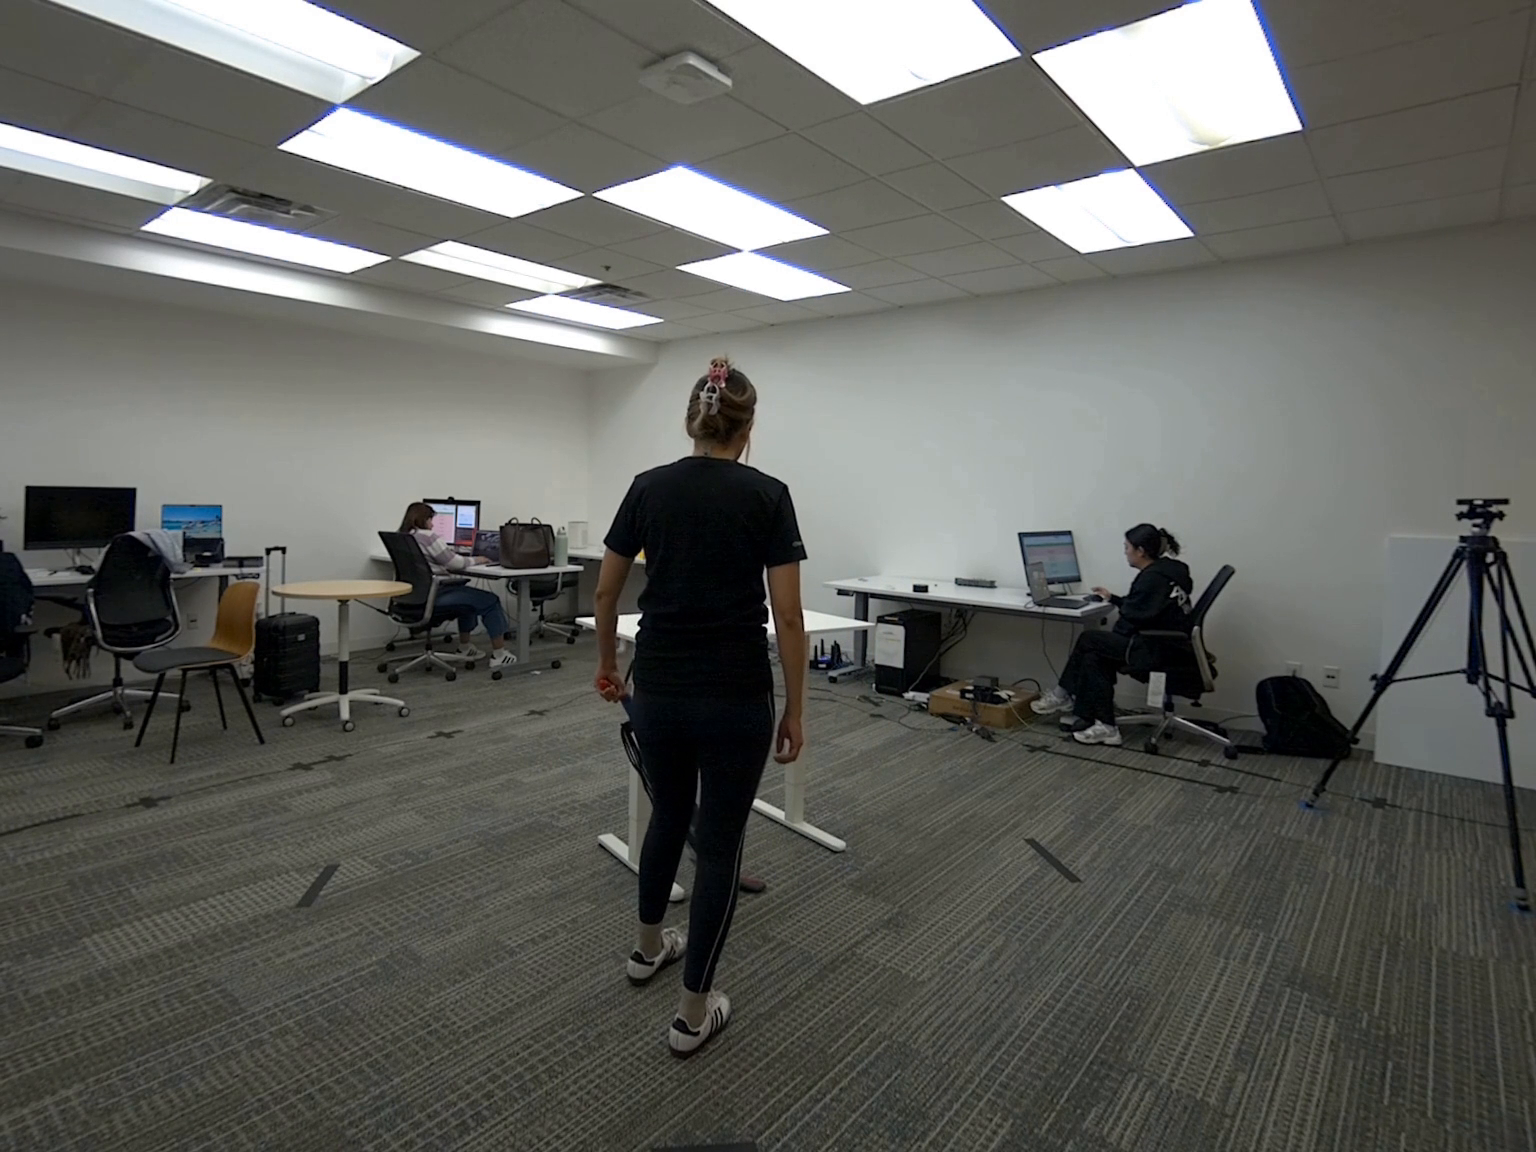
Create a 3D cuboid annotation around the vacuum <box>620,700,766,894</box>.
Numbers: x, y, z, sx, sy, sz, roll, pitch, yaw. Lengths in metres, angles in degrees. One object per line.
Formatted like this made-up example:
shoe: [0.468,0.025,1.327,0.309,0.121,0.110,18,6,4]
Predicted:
vacuum: [-0.302,0.706,2.689,0.259,1.010,0.146,-3,42,27]
